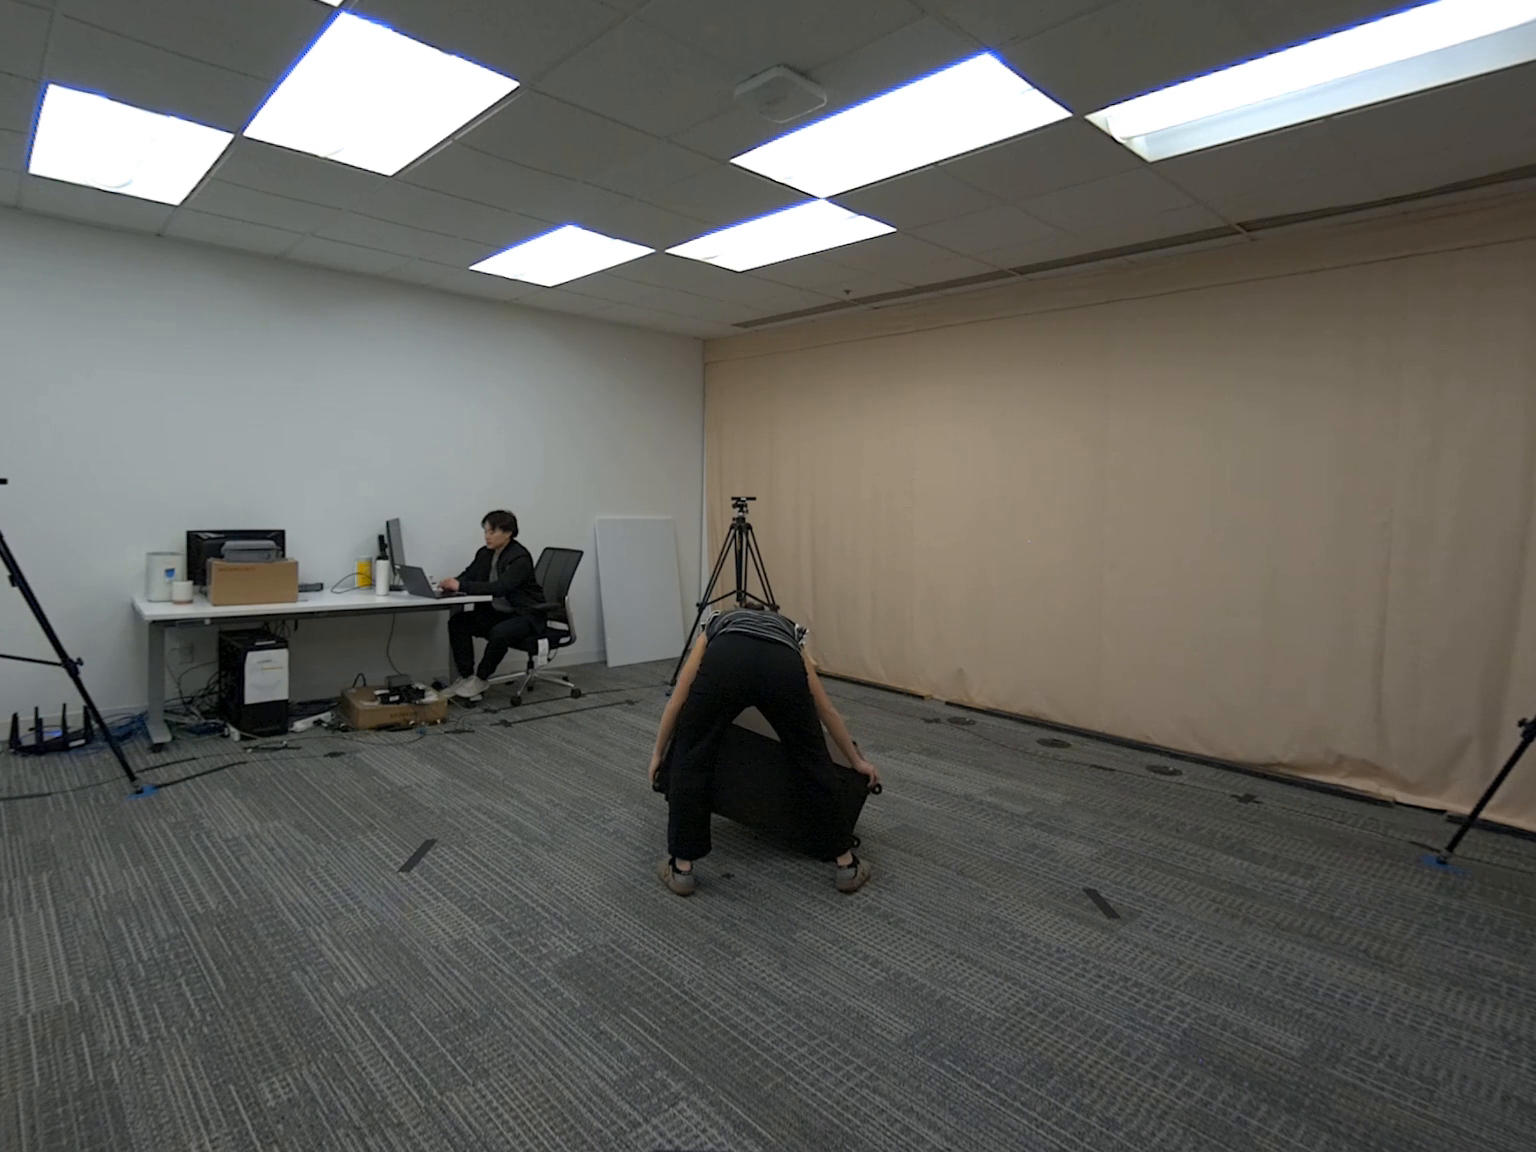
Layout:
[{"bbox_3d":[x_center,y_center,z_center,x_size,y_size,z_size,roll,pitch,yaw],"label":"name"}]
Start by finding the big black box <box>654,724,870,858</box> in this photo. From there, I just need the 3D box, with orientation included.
[{"bbox_3d":[-0.007,0.802,3.475,0.862,0.396,0.521,20,2,0],"label":"big black box"}]
